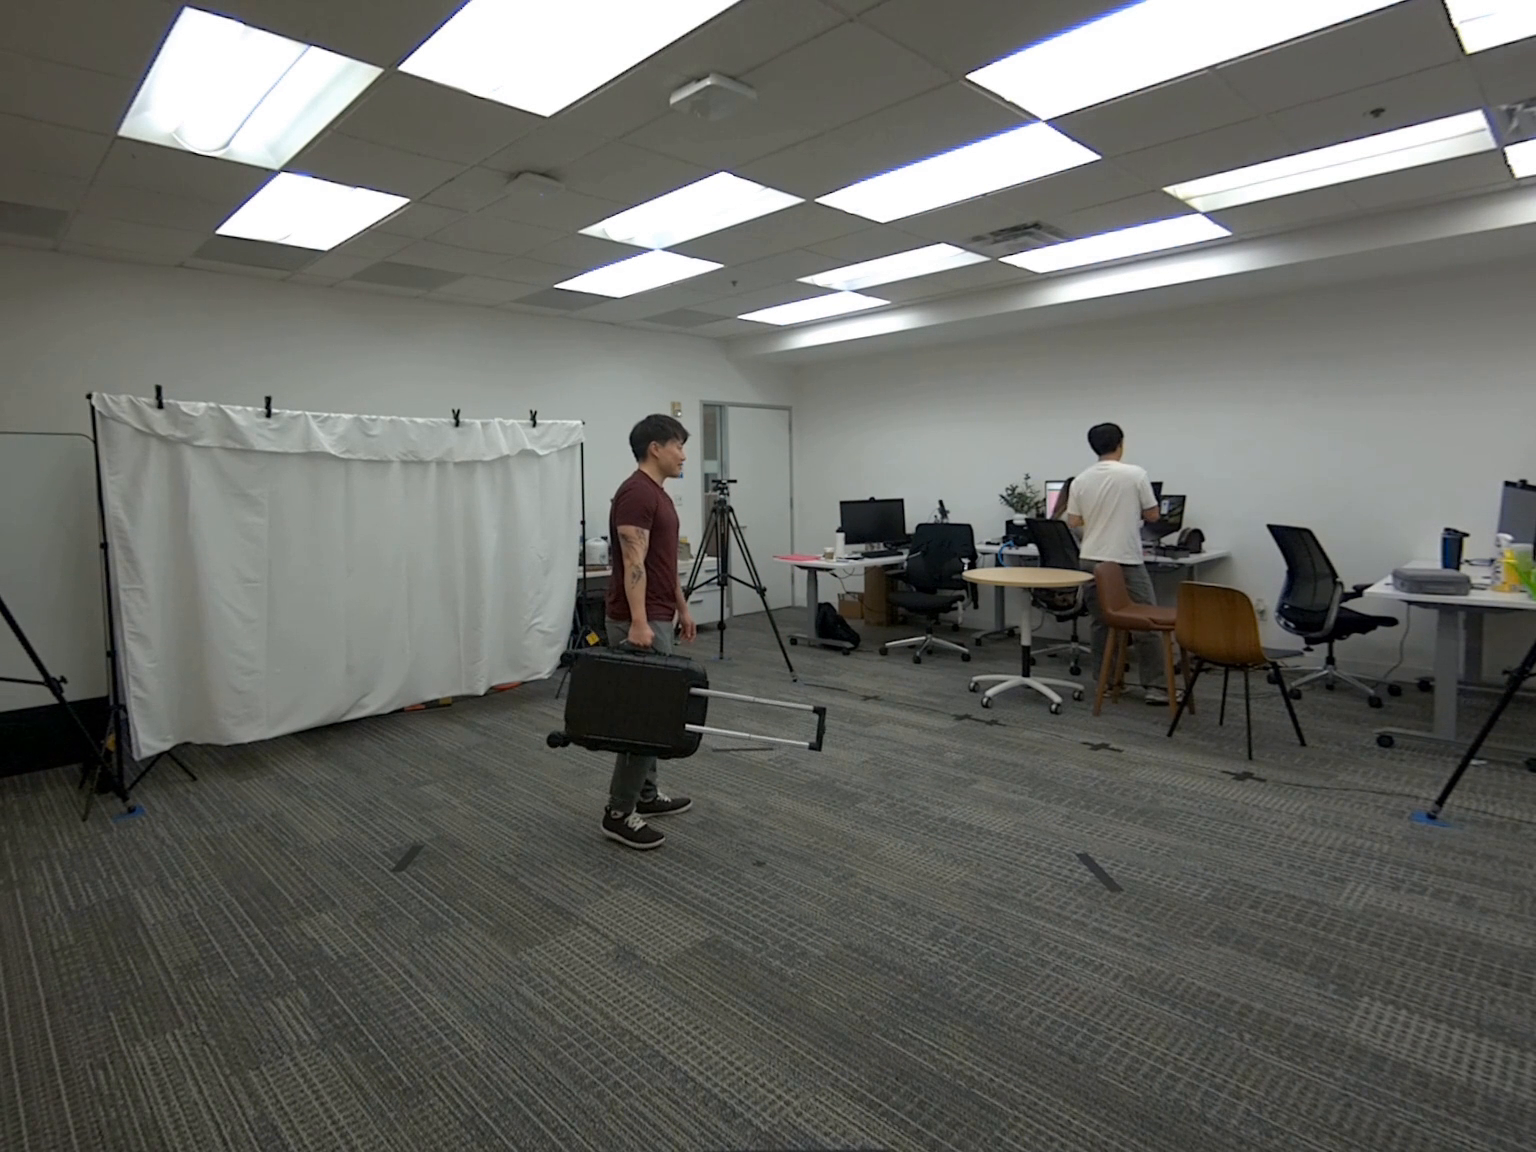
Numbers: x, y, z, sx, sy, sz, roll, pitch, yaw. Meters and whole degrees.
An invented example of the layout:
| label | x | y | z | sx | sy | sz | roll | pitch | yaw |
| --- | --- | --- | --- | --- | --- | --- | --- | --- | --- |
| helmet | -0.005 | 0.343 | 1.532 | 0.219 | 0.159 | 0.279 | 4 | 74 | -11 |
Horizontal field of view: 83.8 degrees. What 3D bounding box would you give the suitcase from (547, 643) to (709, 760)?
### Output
| label | x | y | z | sx | sy | sz | roll | pitch | yaw |
| --- | --- | --- | --- | --- | --- | --- | --- | --- | --- |
| suitcase | -0.294 | 0.486 | 3.179 | 0.977 | 0.387 | 0.255 | 6 | -9 | -2 |
